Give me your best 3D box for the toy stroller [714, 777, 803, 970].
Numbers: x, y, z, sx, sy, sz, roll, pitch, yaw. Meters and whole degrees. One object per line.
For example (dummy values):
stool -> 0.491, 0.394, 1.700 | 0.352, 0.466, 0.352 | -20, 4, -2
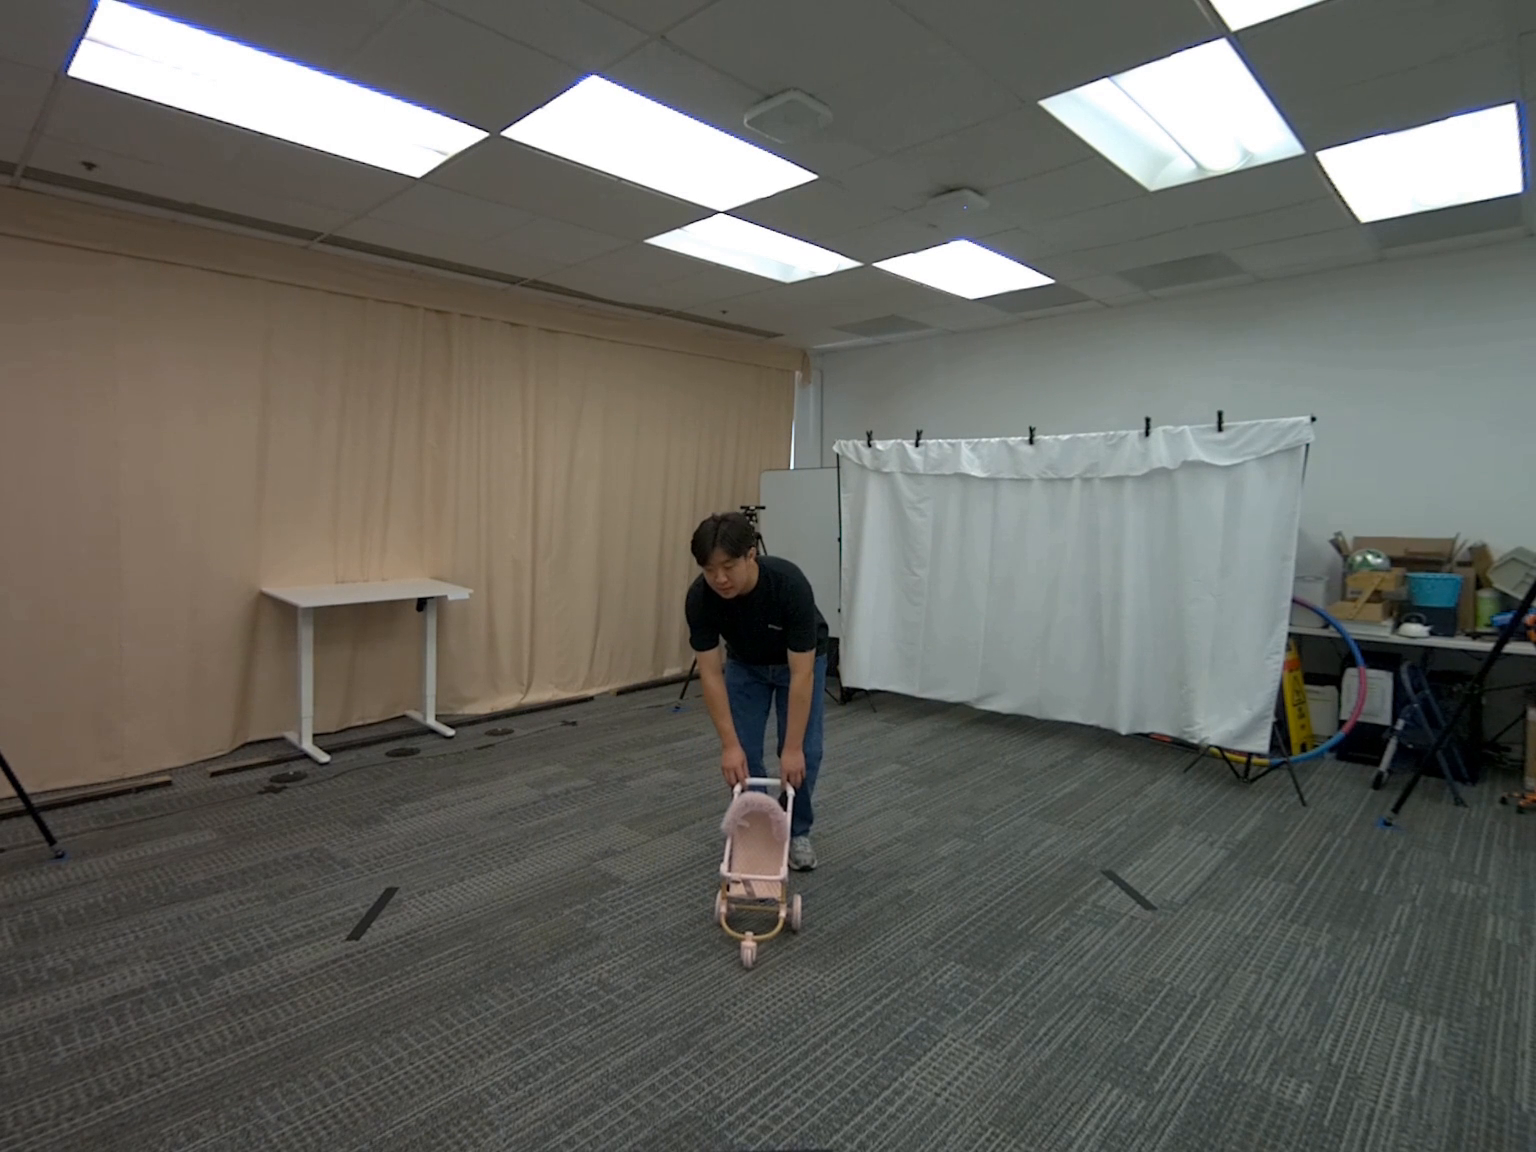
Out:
toy stroller -> -0.037, 0.942, 2.714 | 0.285, 0.538, 0.334 | 1, -11, 12
